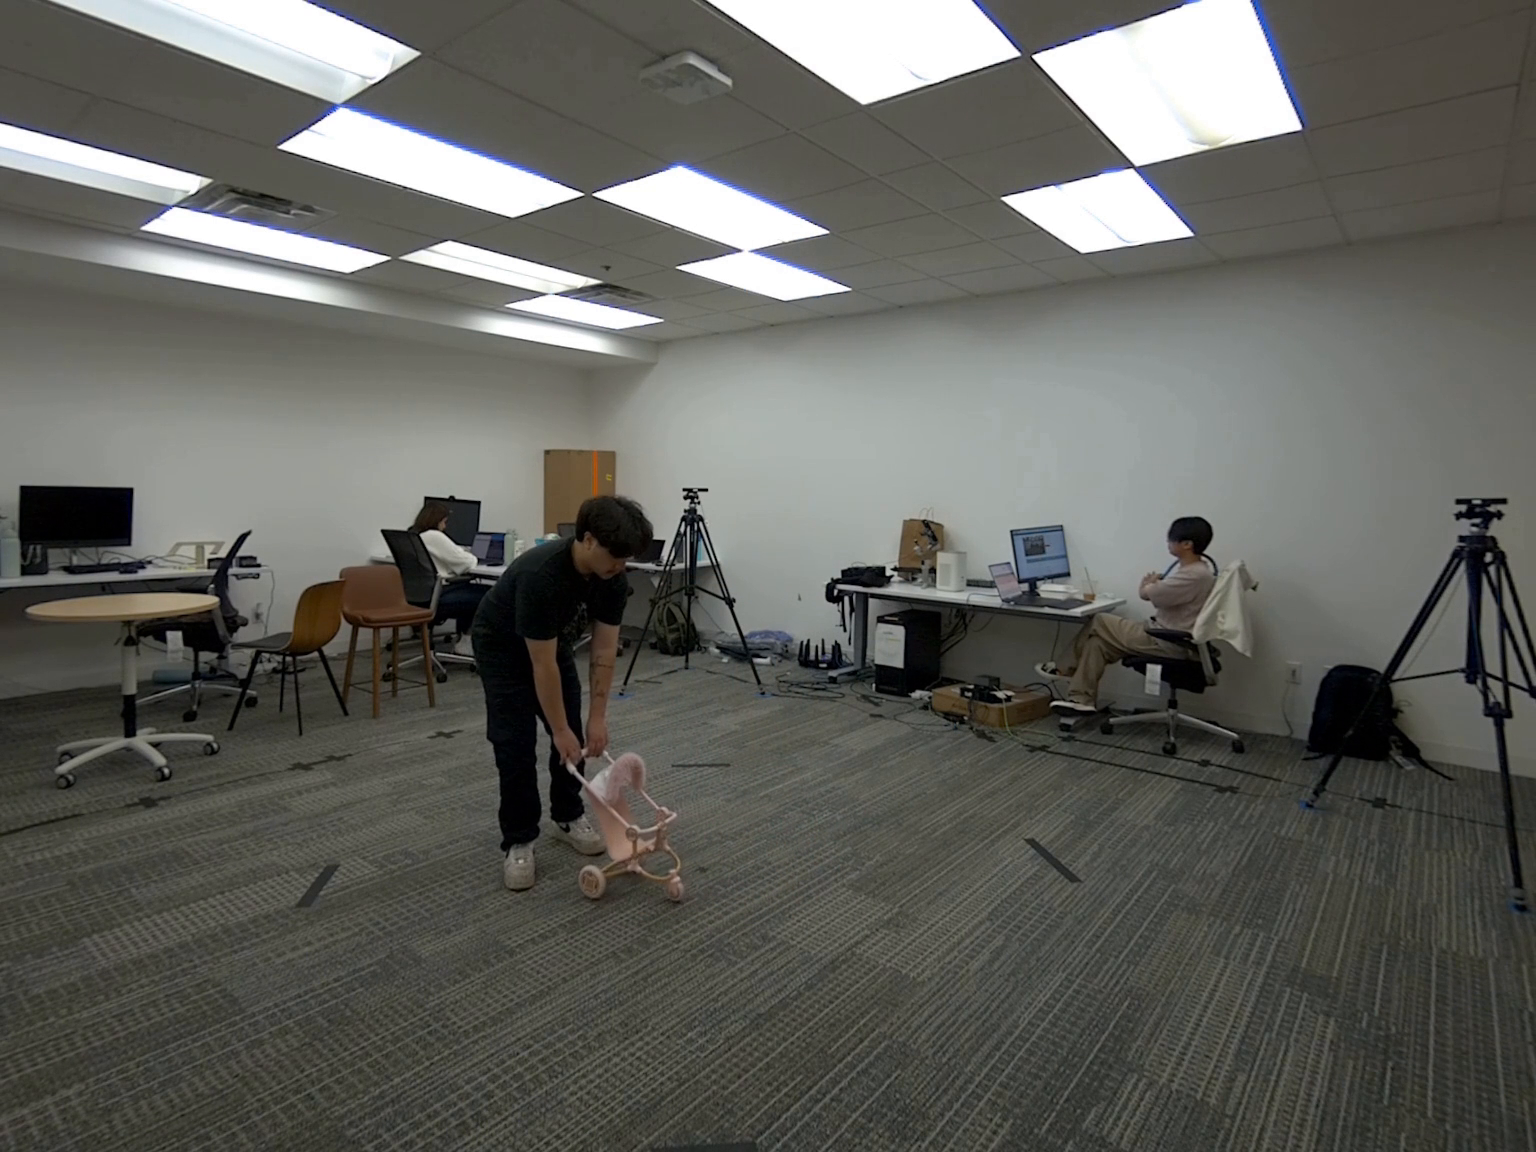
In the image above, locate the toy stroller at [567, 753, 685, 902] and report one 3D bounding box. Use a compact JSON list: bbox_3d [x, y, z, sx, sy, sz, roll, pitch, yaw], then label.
[{"bbox_3d":[-0.486,0.855,2.936,0.348,0.538,0.274,-14,-5,31],"label":"toy stroller"}]
